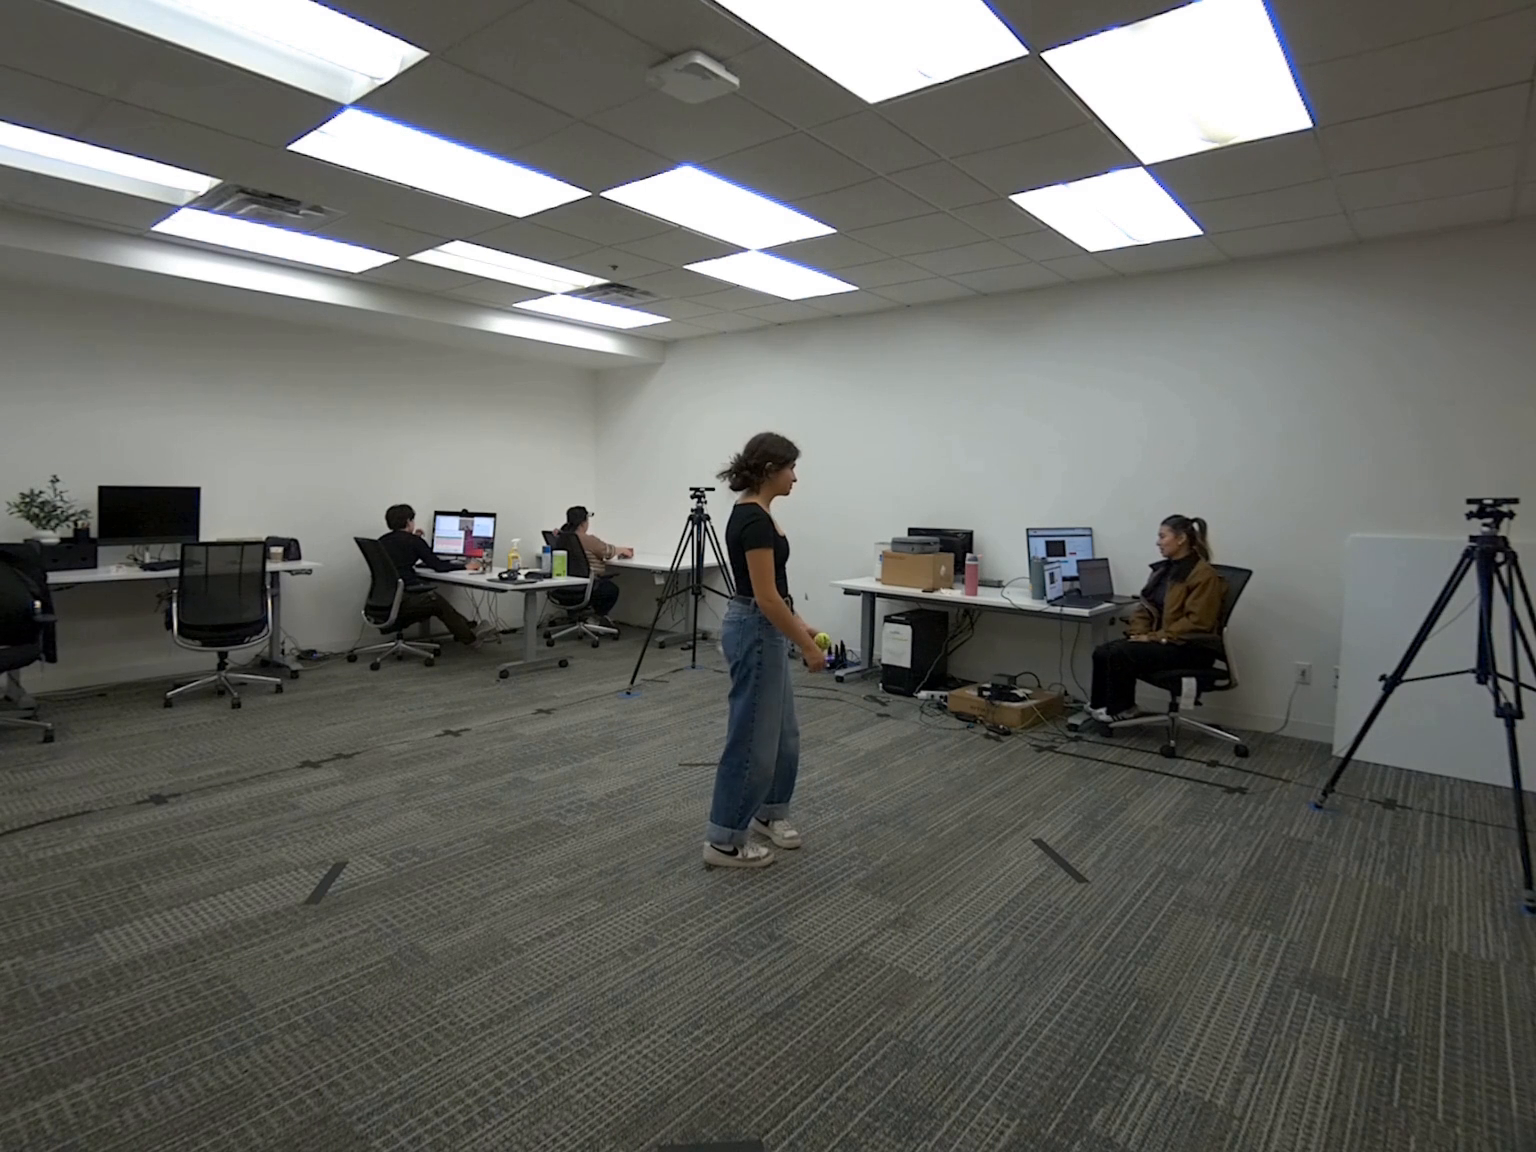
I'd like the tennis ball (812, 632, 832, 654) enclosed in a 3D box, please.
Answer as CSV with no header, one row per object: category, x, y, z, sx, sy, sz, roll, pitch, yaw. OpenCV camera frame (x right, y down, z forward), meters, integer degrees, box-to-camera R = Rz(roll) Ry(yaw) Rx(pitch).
tennis ball,0.213,0.277,3.380,0.066,0.066,0.067,1,4,-2
